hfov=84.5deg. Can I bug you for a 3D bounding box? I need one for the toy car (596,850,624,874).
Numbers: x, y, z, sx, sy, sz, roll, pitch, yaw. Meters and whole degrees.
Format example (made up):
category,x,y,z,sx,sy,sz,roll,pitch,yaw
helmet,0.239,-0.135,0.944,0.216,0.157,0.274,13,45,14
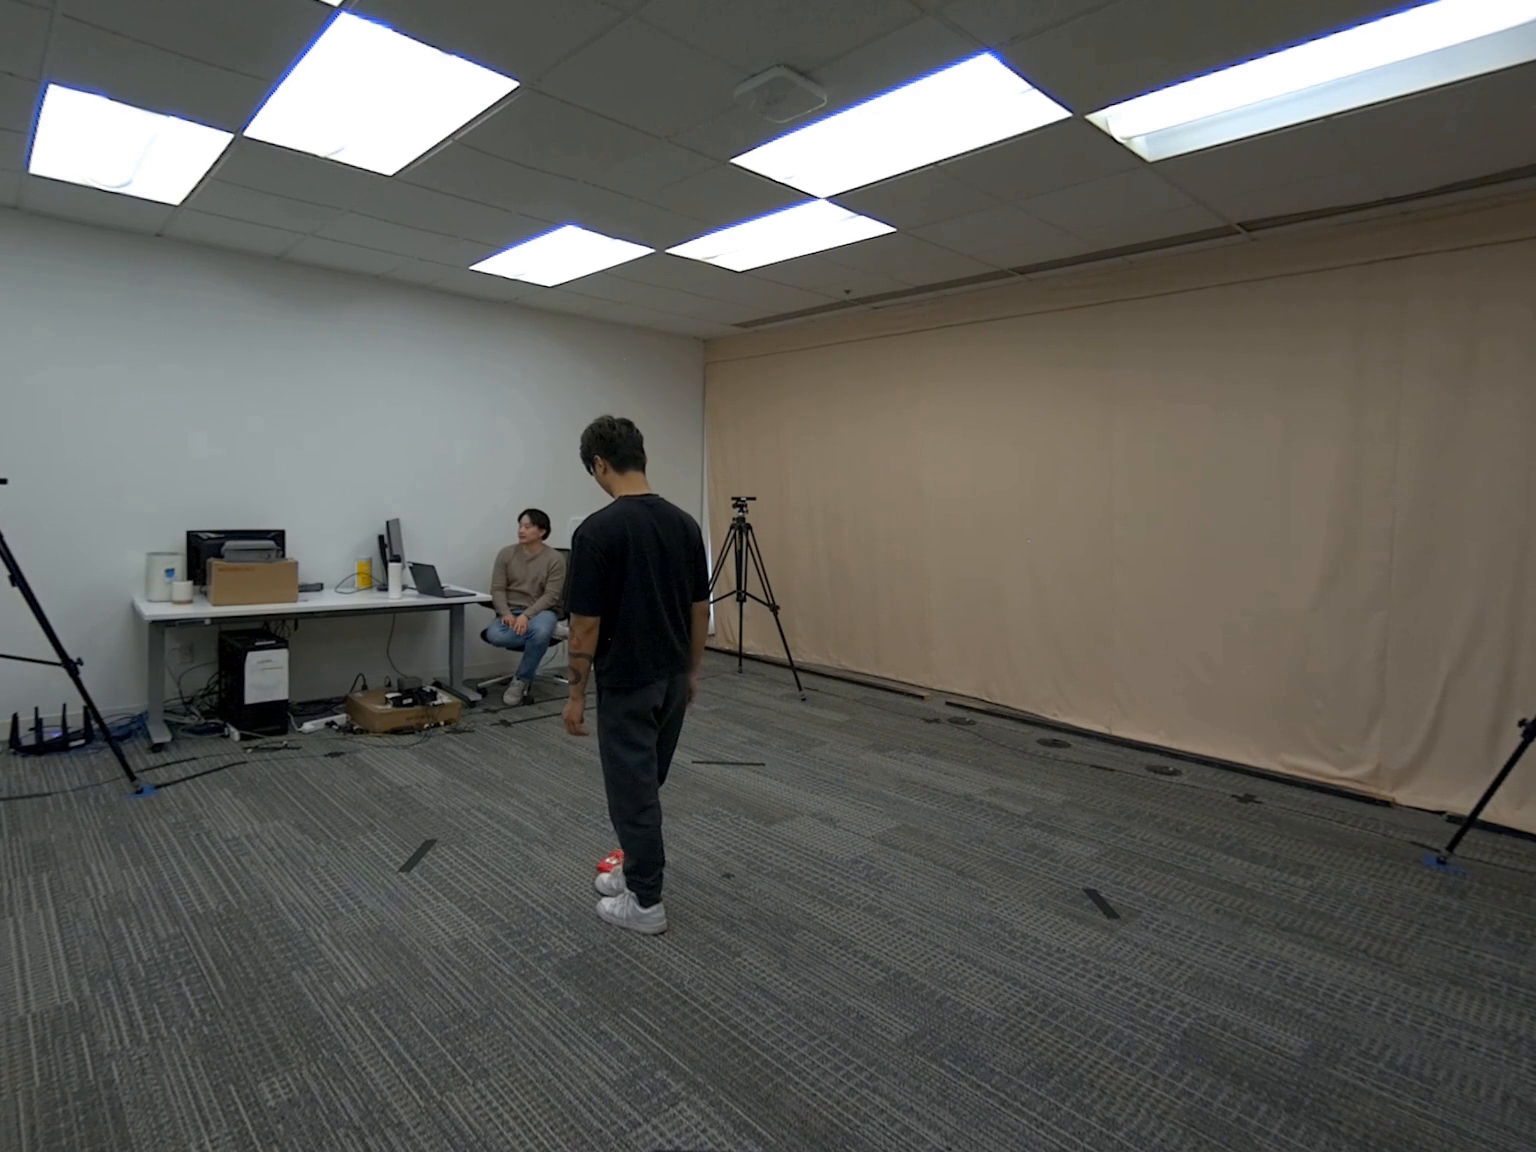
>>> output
category,x,y,z,sx,sy,sz,roll,pitch,yaw
toy car,-0.542,1.067,3.121,0.133,0.083,0.248,5,-6,28
